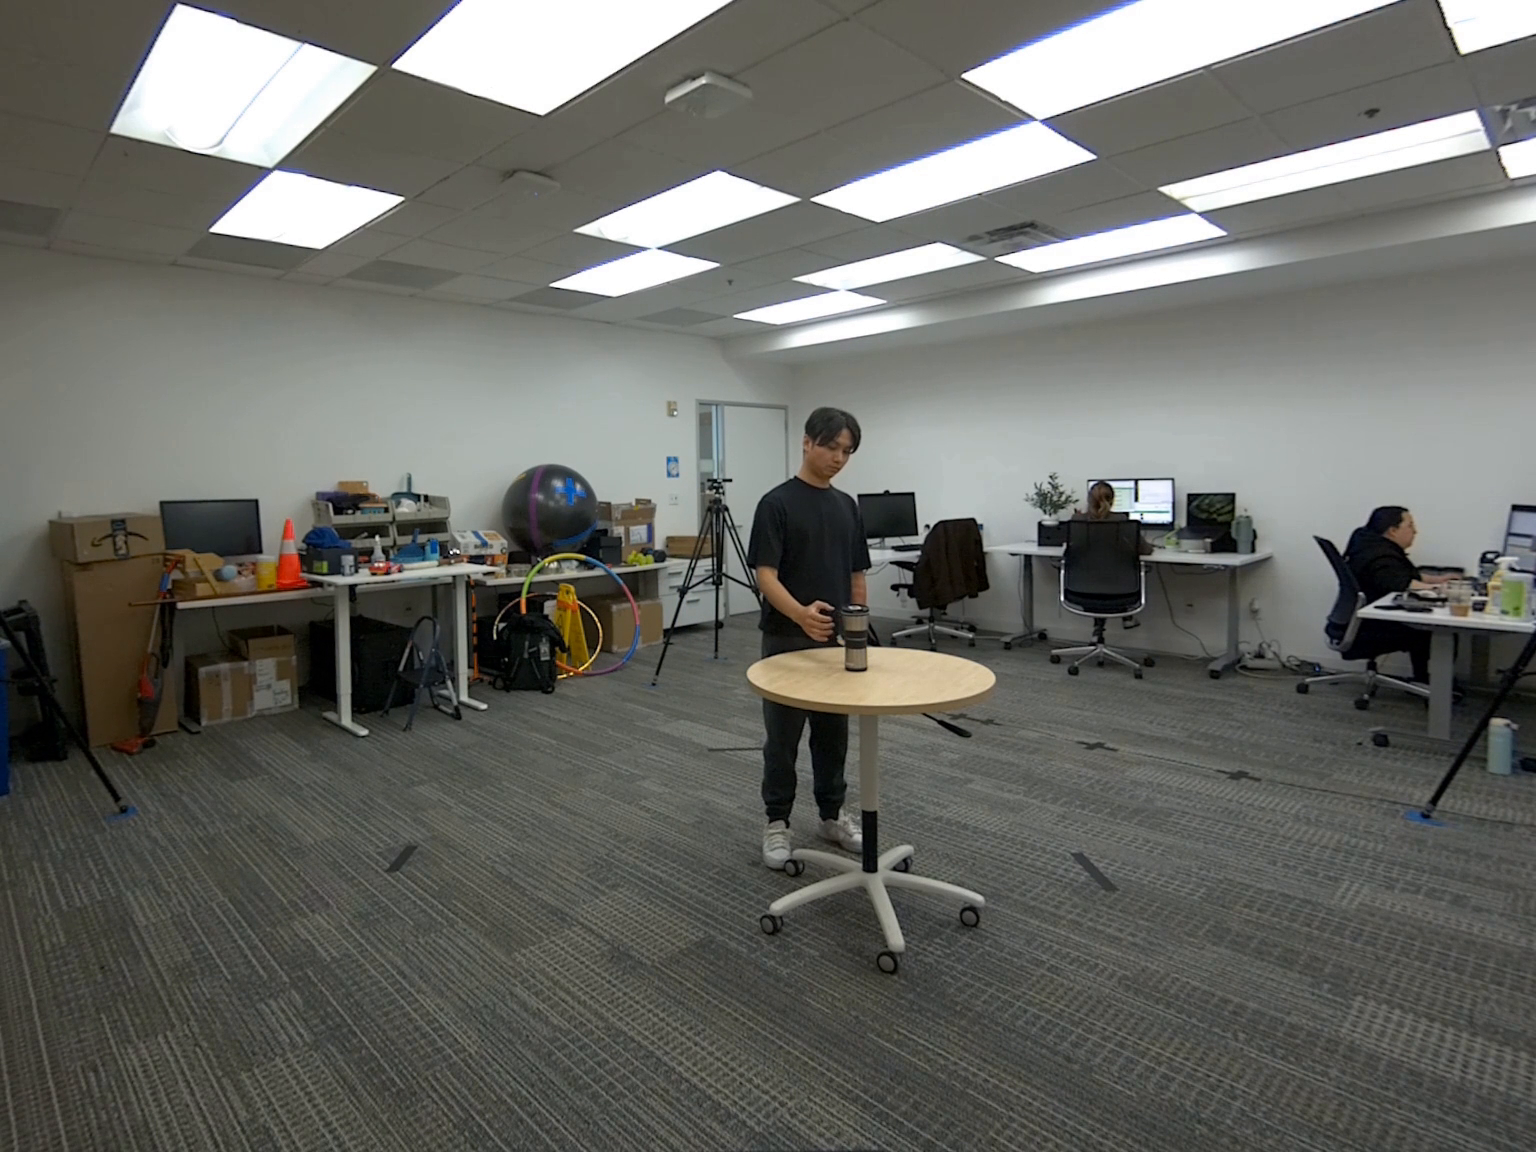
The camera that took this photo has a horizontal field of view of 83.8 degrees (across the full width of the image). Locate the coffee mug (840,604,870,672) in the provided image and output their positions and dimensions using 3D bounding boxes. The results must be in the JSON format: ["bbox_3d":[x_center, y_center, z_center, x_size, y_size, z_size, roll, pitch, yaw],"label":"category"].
[{"bbox_3d":[0.270,0.201,2.742,0.086,0.201,0.125,-5,8,-24],"label":"coffee mug"}]
